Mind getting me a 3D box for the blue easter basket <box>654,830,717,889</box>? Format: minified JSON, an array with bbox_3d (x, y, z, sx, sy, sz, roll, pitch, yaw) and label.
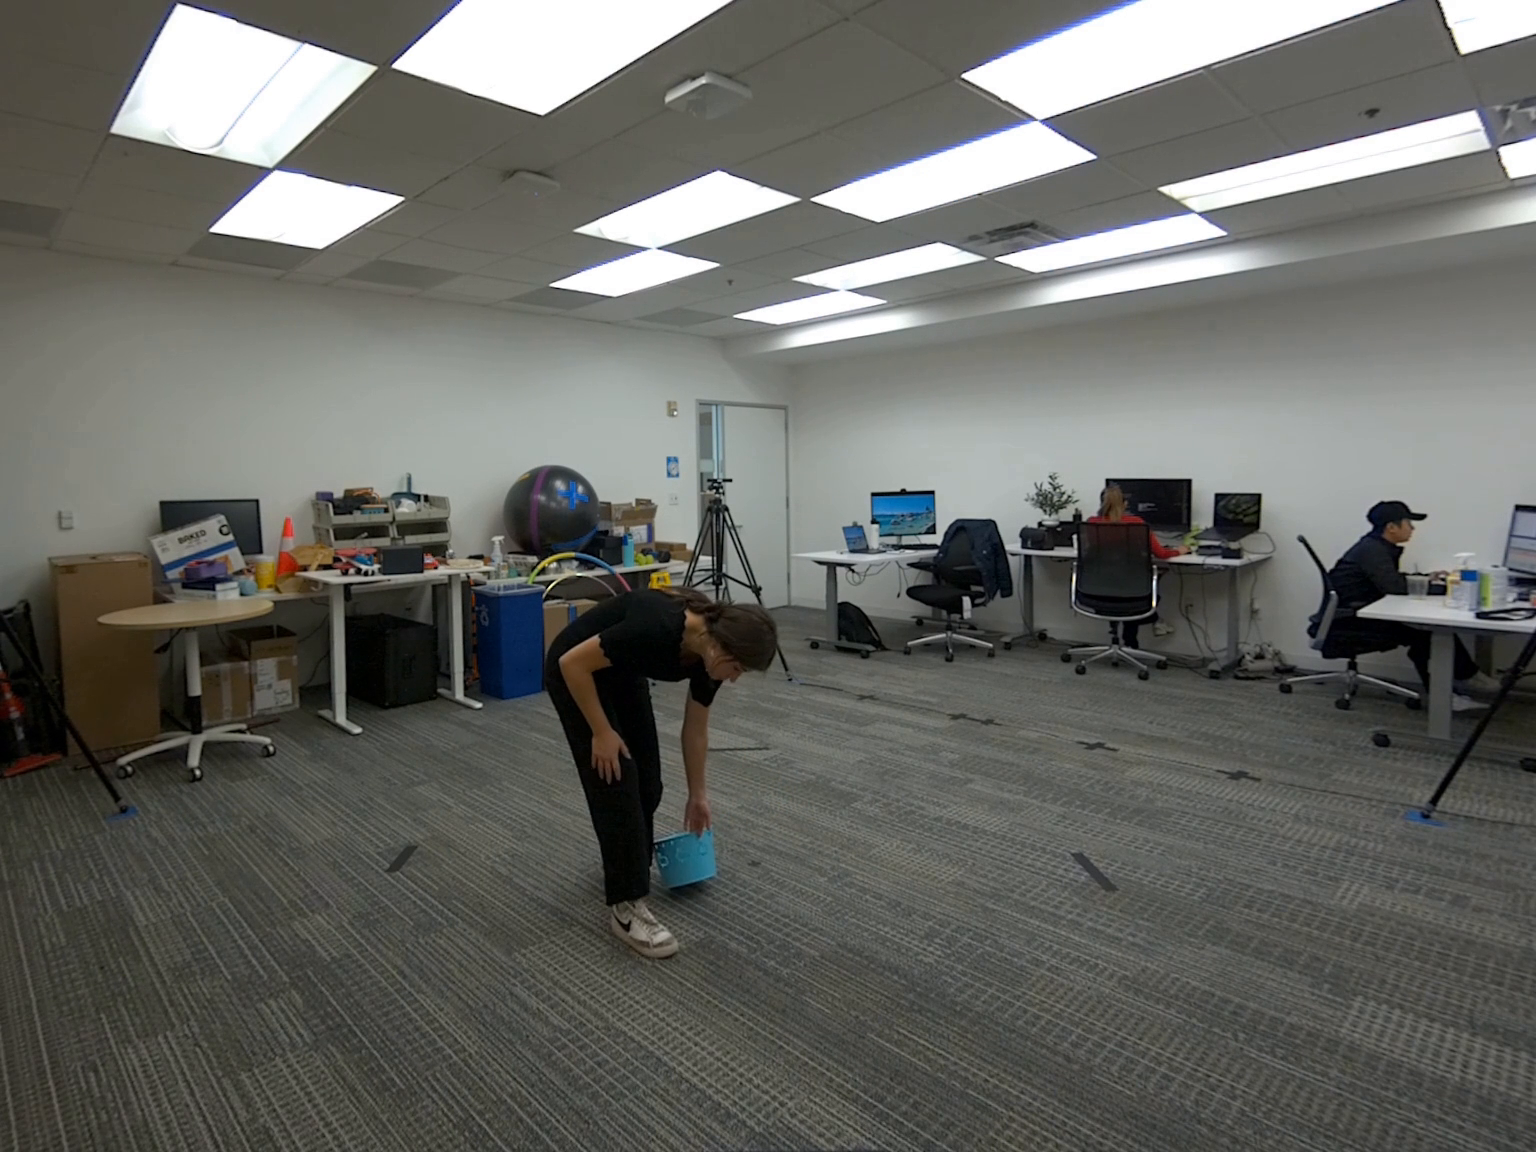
[{"bbox_3d":[-0.277,0.966,2.918,0.243,0.158,0.240,-13,-13,-5],"label":"blue easter basket"}]
